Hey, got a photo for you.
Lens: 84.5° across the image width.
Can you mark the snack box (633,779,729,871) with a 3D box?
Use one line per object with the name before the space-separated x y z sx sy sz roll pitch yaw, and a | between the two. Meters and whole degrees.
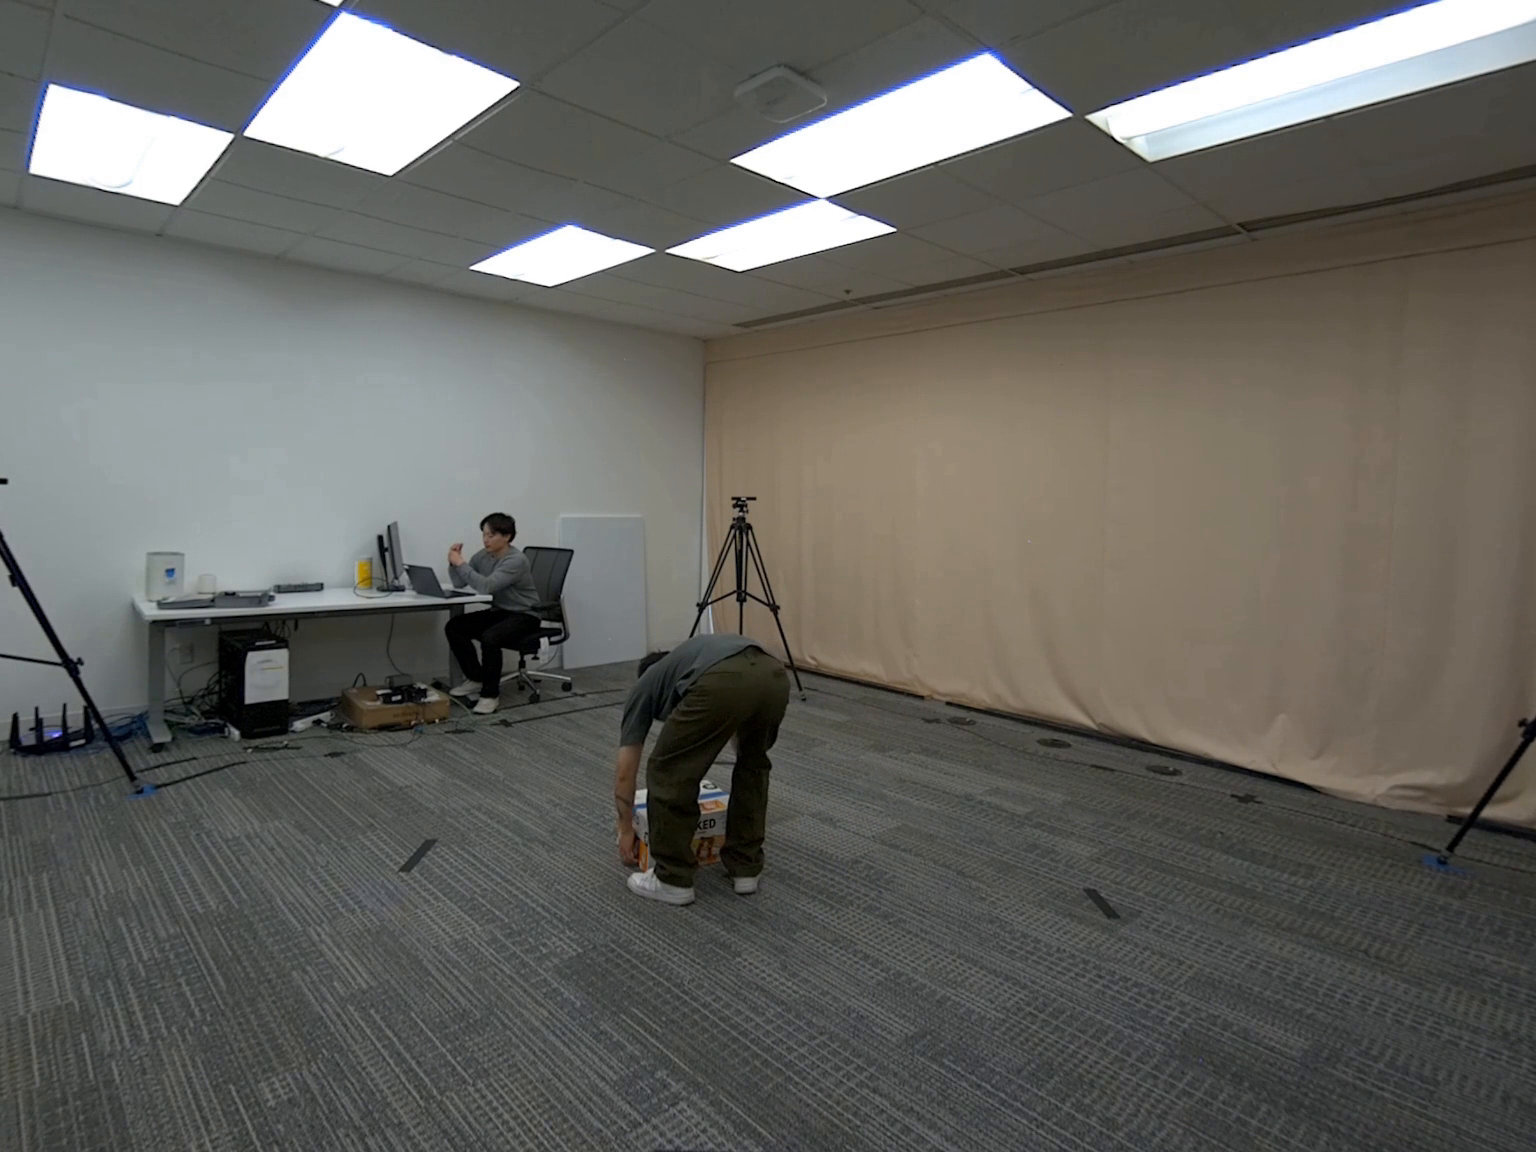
snack box | -0.345 0.979 3.311 0.397 0.205 0.348 -1 5 -28
